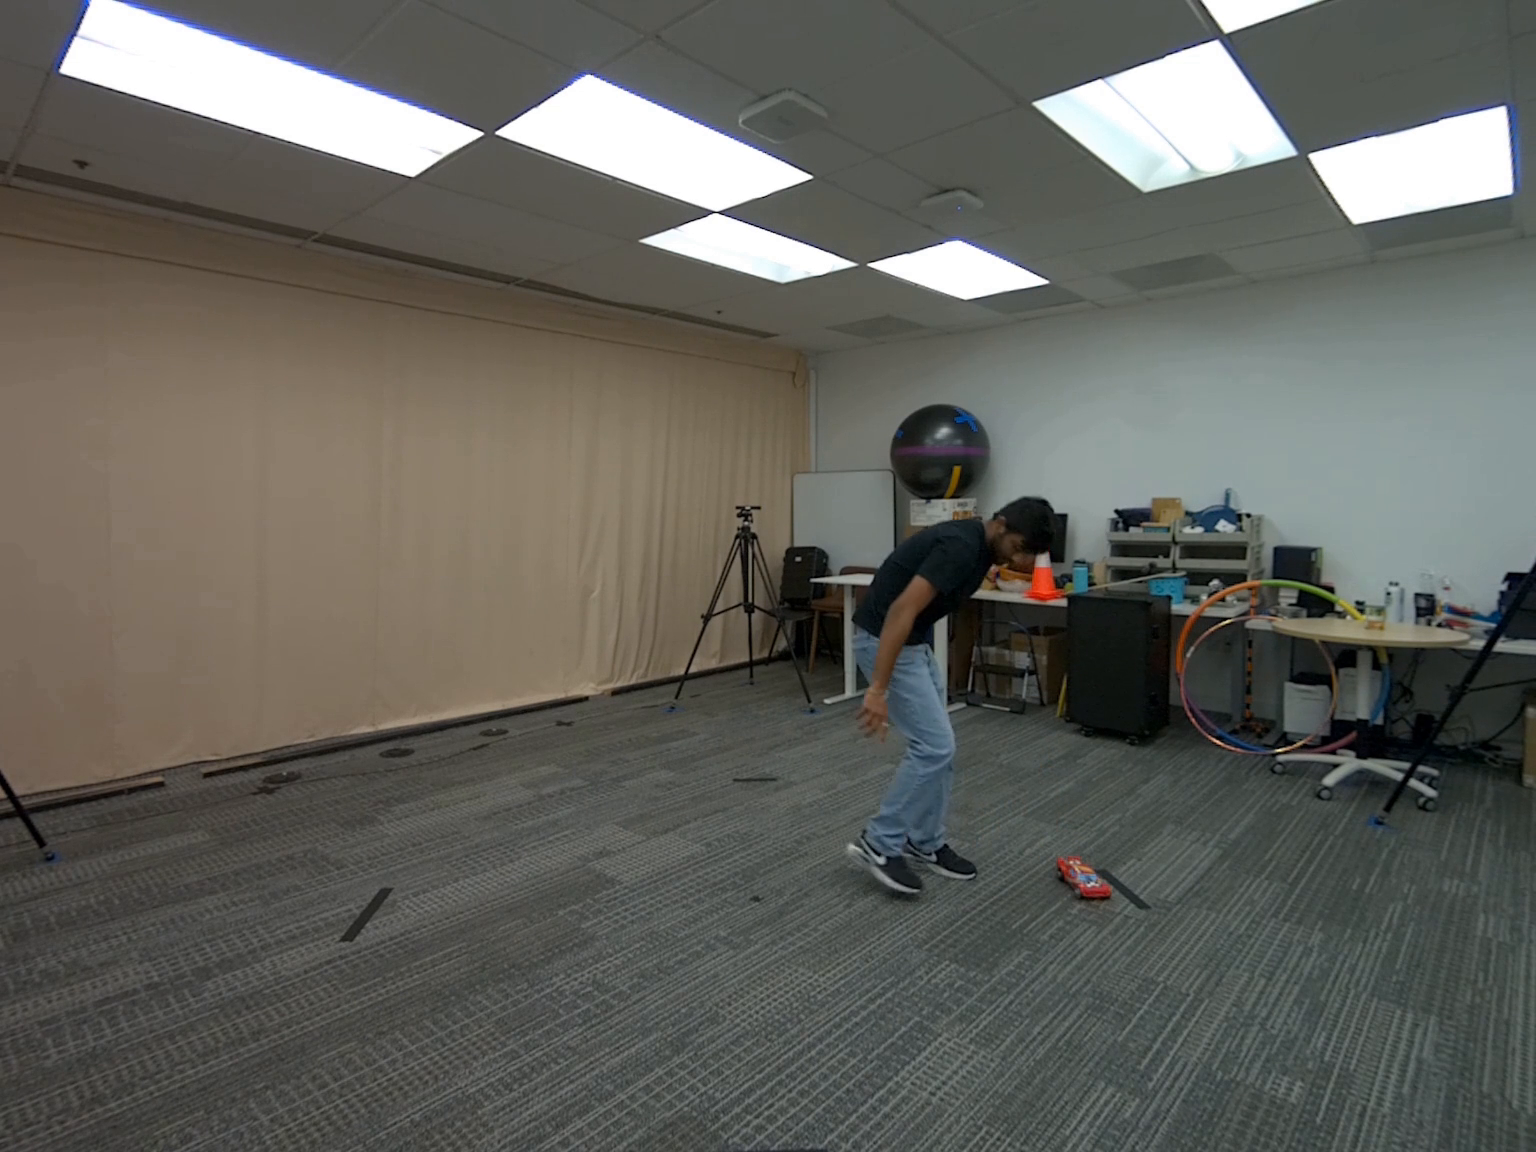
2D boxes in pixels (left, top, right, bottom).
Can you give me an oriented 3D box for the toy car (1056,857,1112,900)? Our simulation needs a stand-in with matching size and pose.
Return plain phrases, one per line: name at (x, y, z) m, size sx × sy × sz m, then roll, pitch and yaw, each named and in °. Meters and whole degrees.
toy car at (1.149, 1.106, 3.065) m, size 0.130 × 0.082 × 0.257 m, roll -1°, pitch 15°, yaw -4°
